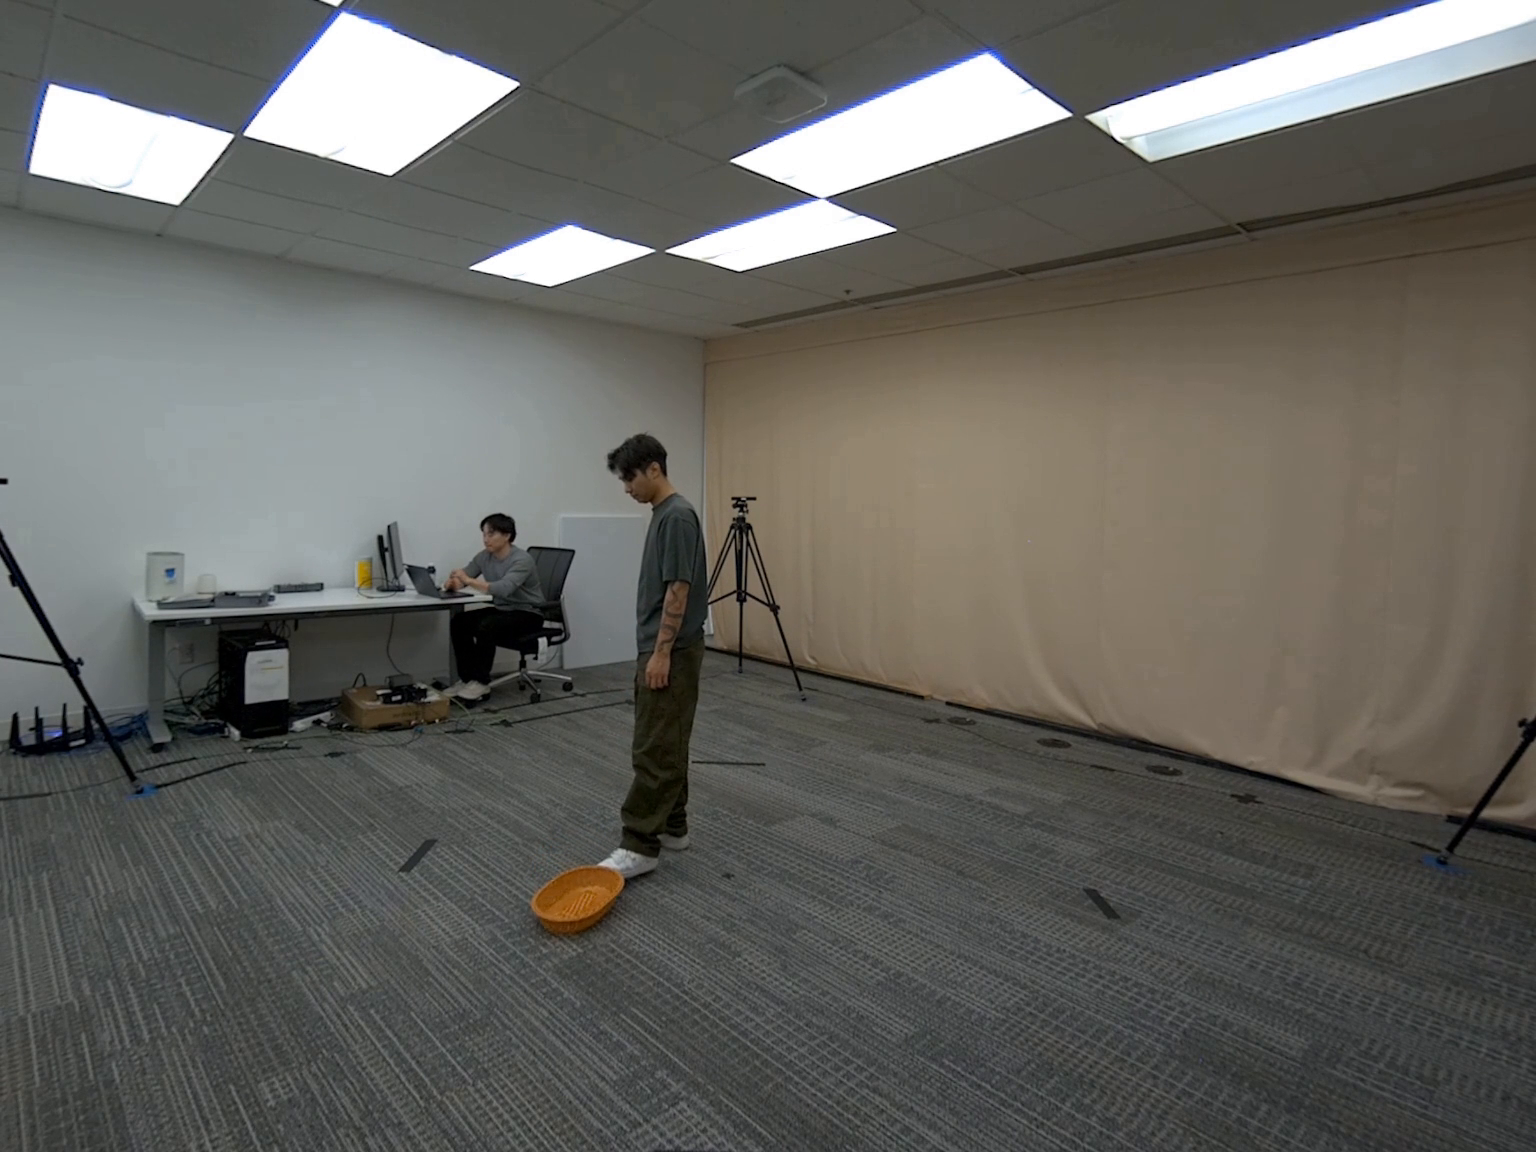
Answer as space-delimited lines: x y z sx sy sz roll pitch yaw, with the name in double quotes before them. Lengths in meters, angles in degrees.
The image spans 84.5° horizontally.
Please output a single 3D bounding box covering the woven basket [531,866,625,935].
"woven basket" -0.638 1.078 2.789 0.257 0.073 0.346 3 9 24
